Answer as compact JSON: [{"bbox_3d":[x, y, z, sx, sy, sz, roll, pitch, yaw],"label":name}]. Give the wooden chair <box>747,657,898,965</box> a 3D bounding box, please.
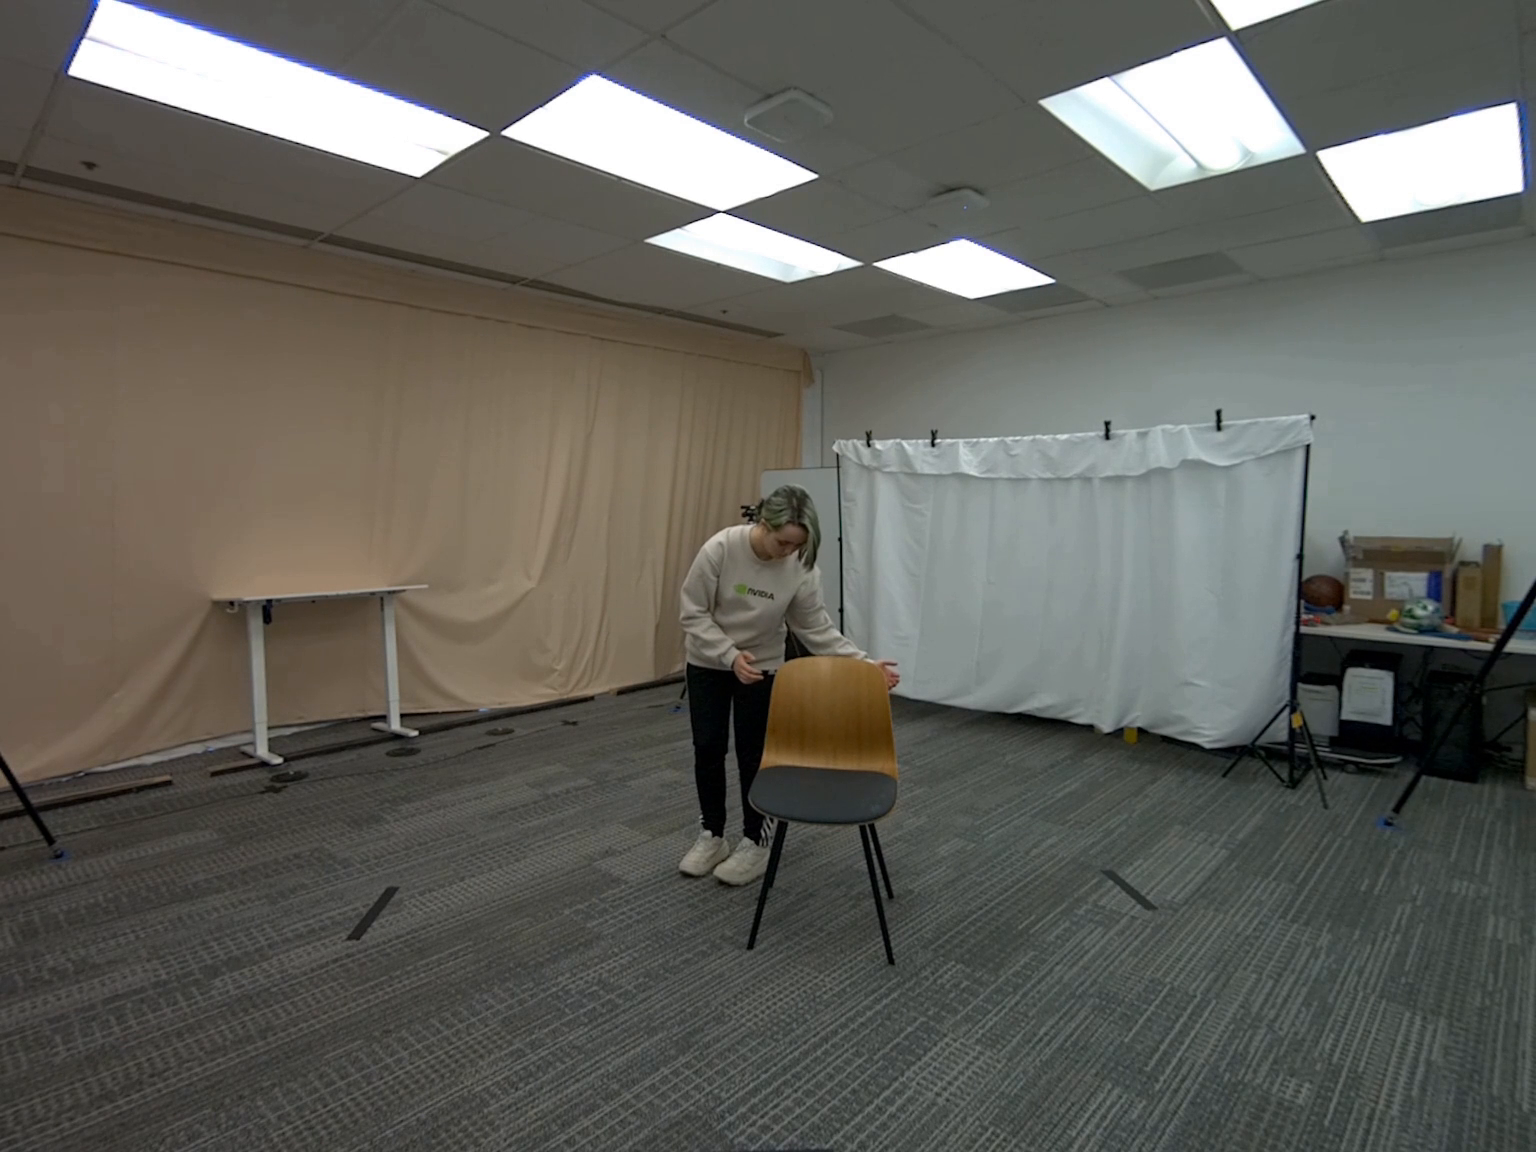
[{"bbox_3d":[0.200,0.733,2.772,0.484,0.877,0.517,1,0,10],"label":"wooden chair"}]
